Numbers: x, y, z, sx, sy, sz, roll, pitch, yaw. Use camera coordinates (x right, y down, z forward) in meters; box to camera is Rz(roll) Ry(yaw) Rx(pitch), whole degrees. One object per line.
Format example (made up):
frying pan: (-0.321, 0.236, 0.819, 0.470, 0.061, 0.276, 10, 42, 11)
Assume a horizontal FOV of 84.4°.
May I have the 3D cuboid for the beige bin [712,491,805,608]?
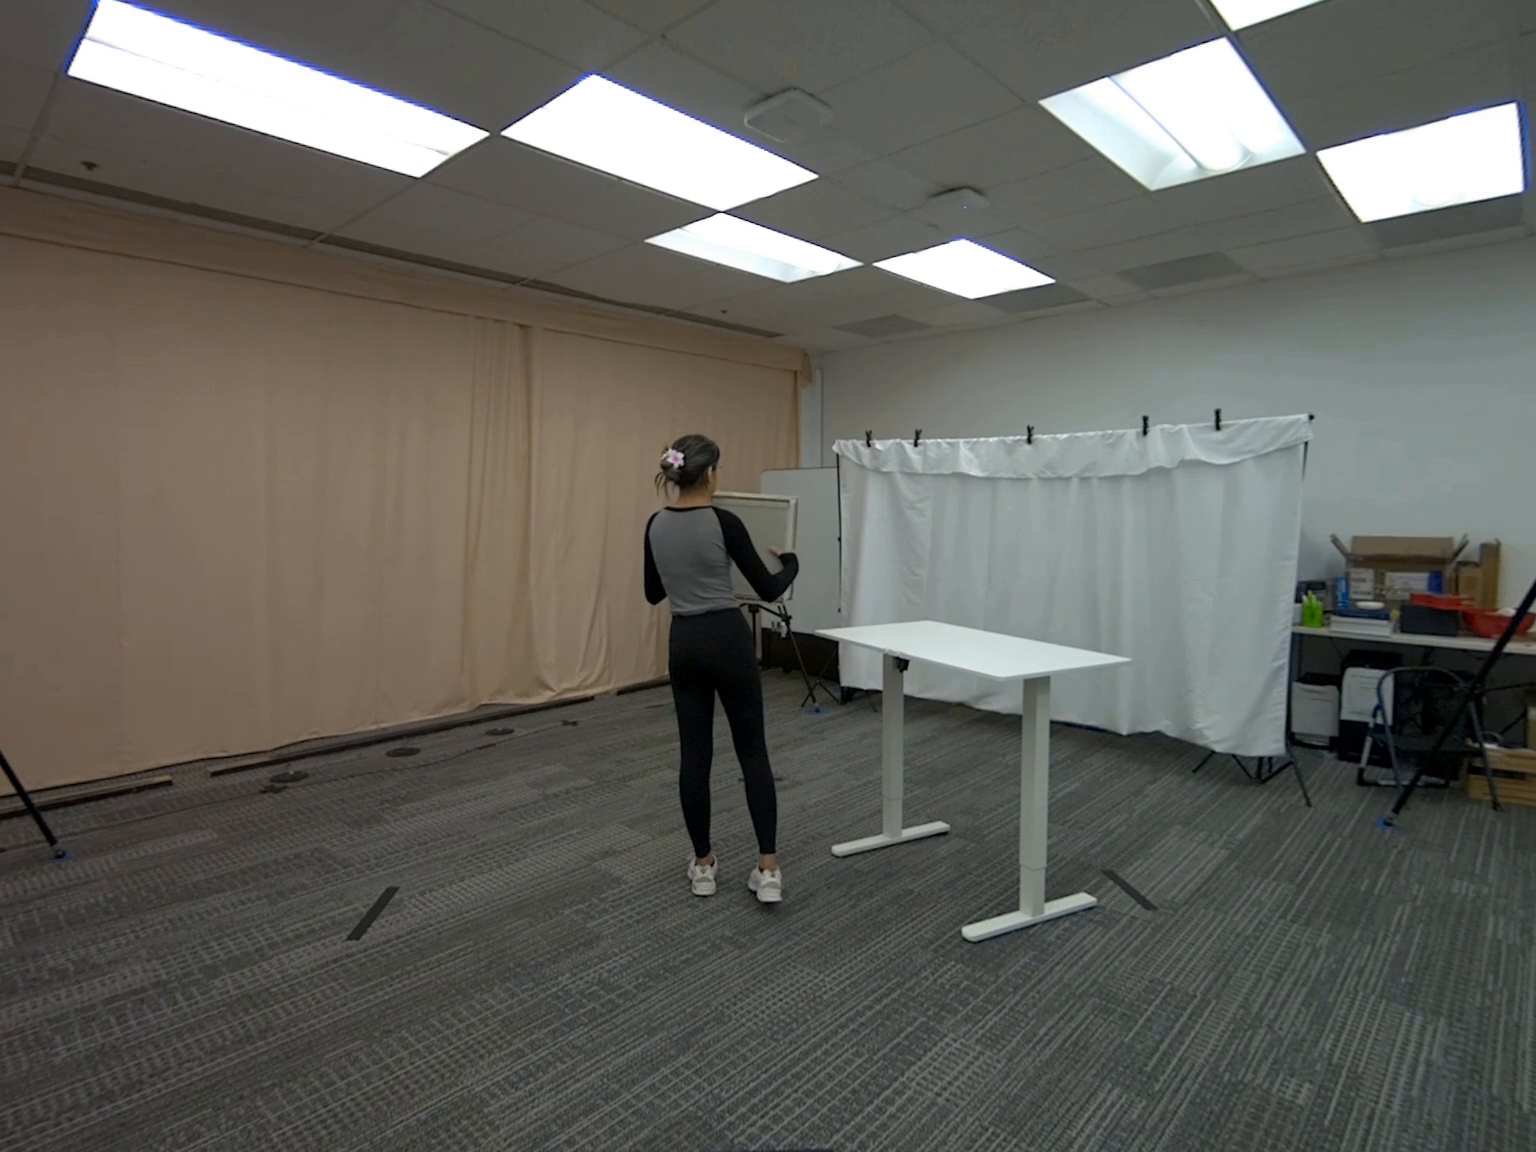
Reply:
beige bin: (-0.084, -0.117, 3.364, 0.383, 0.421, 0.187, 5, 6, 14)
